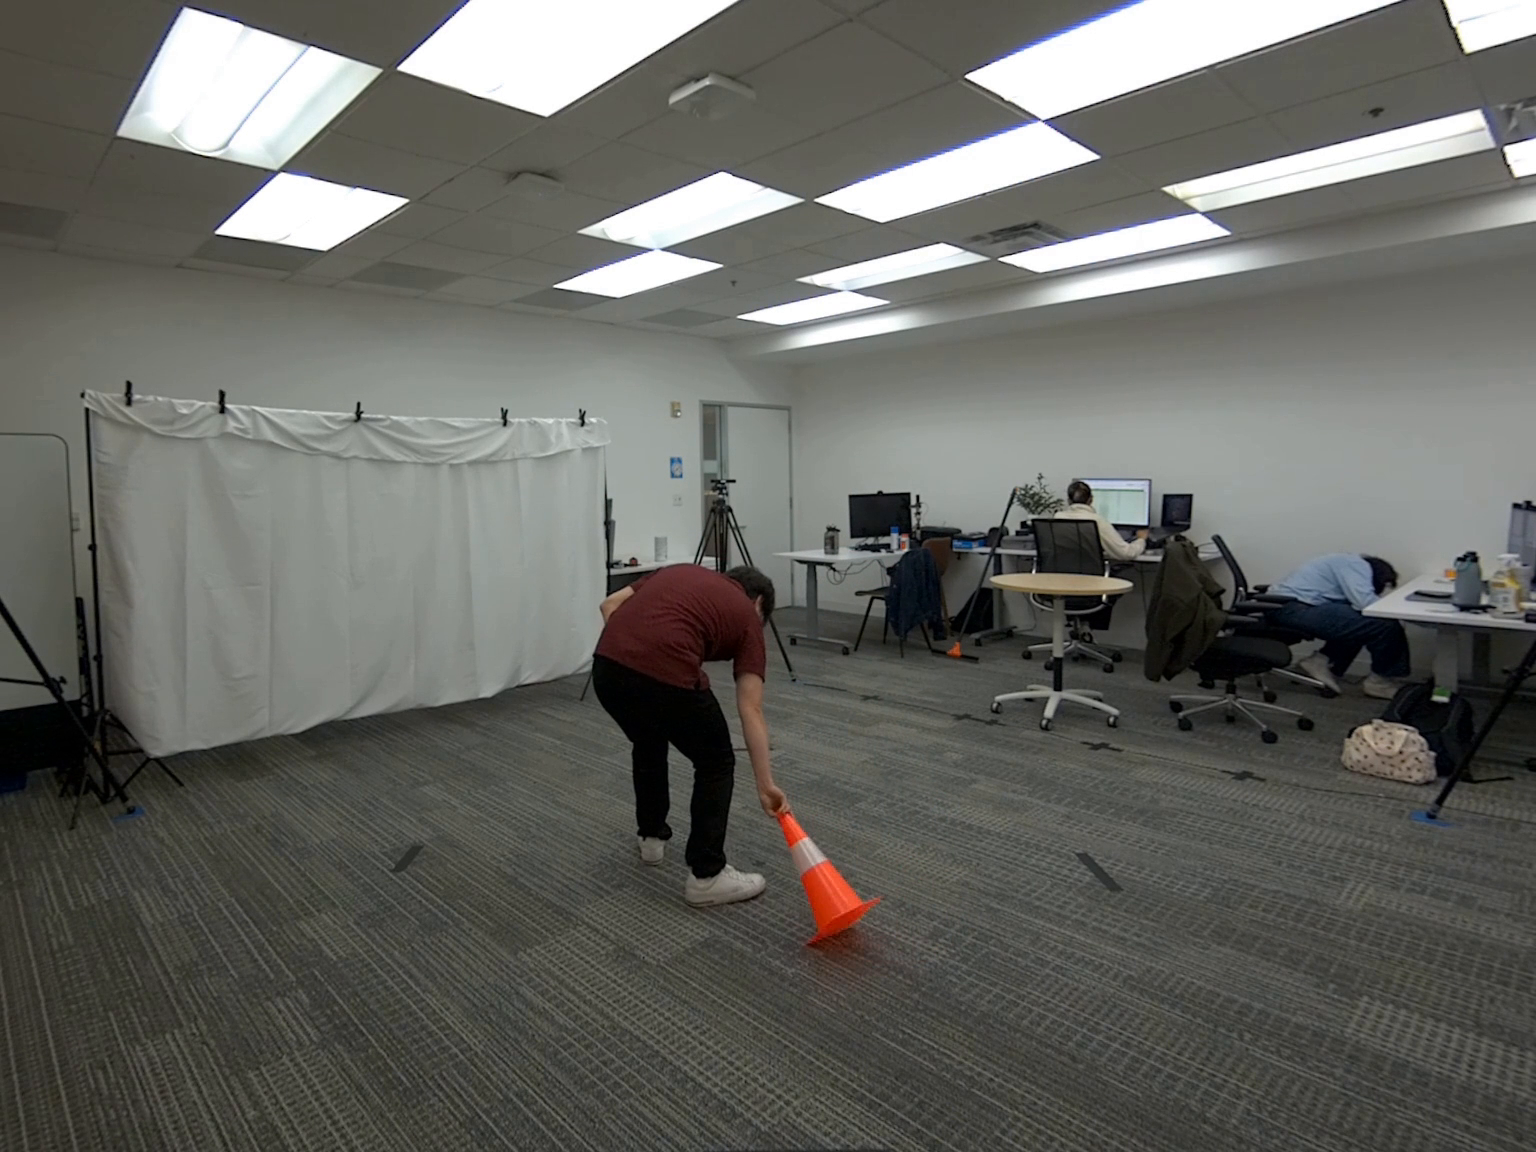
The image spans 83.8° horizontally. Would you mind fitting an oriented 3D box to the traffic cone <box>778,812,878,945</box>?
[{"bbox_3d":[0.148,0.896,2.654,0.199,0.202,0.397,0,45,-41],"label":"traffic cone"}]
